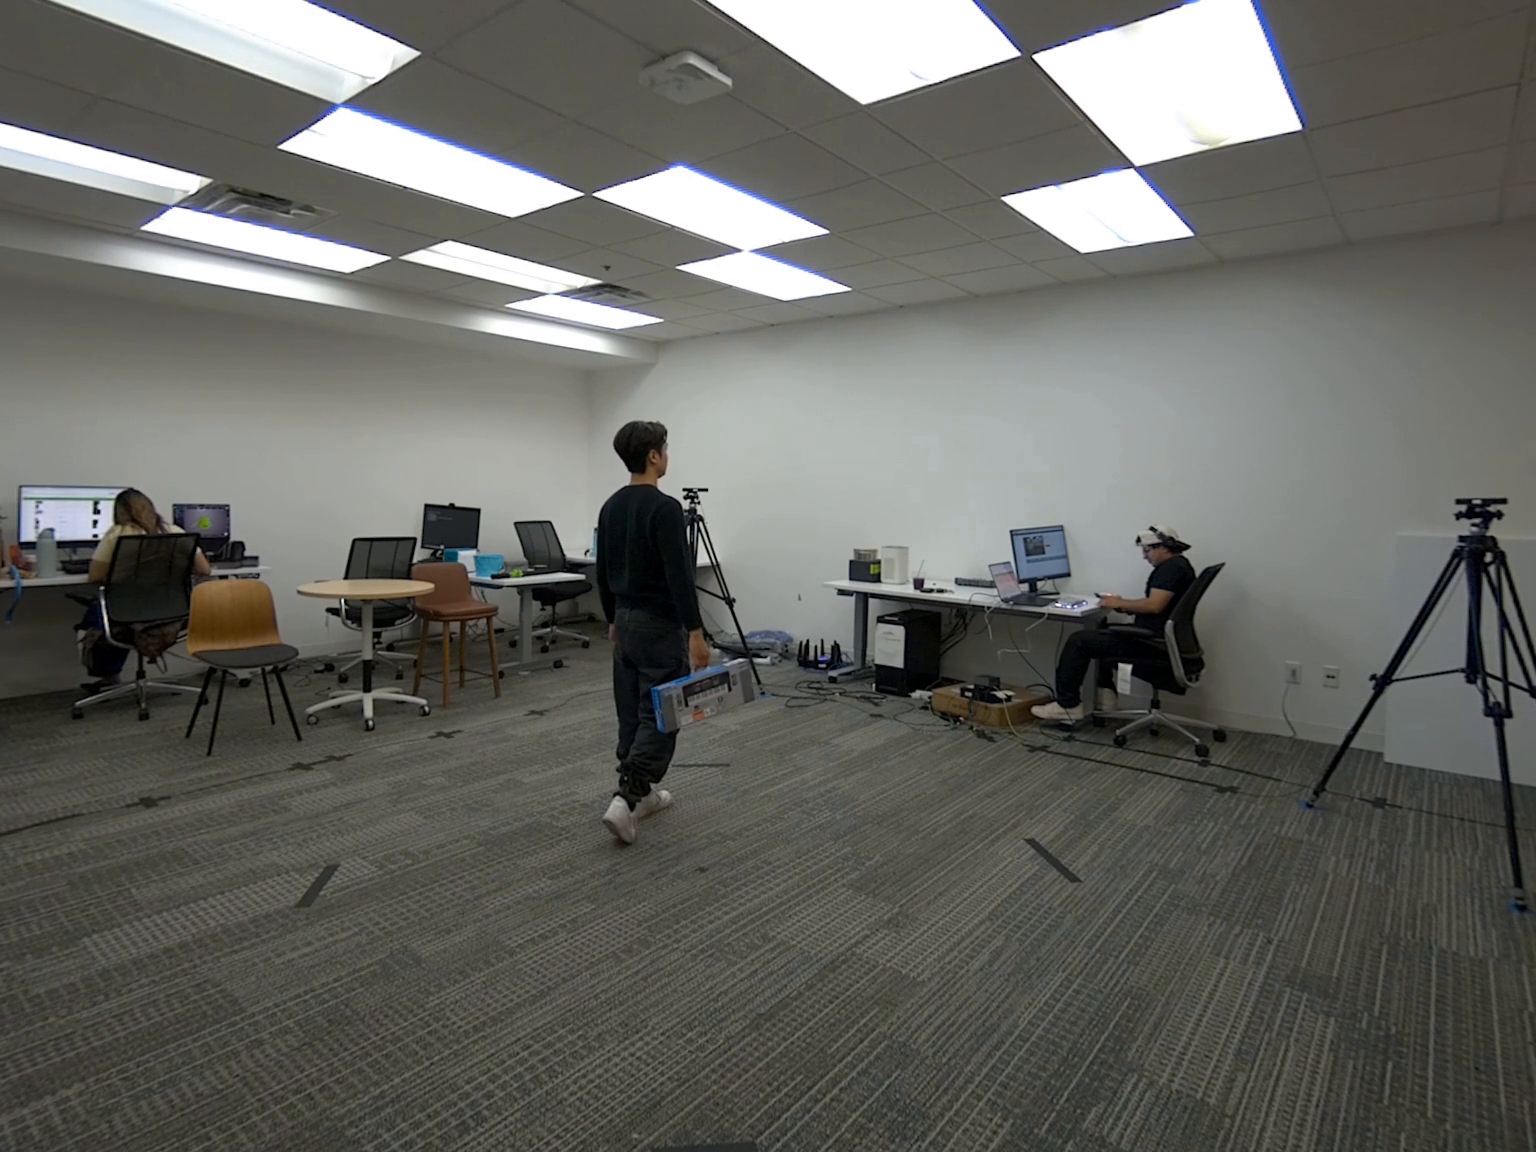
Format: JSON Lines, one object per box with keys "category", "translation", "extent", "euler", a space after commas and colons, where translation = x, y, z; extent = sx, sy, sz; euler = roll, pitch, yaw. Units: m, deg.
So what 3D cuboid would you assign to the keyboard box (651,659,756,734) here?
{"category": "keyboard box", "translation": [-0.269, 0.466, 3.367], "extent": [0.427, 0.175, 0.061], "euler": [-14, 8, -33]}
